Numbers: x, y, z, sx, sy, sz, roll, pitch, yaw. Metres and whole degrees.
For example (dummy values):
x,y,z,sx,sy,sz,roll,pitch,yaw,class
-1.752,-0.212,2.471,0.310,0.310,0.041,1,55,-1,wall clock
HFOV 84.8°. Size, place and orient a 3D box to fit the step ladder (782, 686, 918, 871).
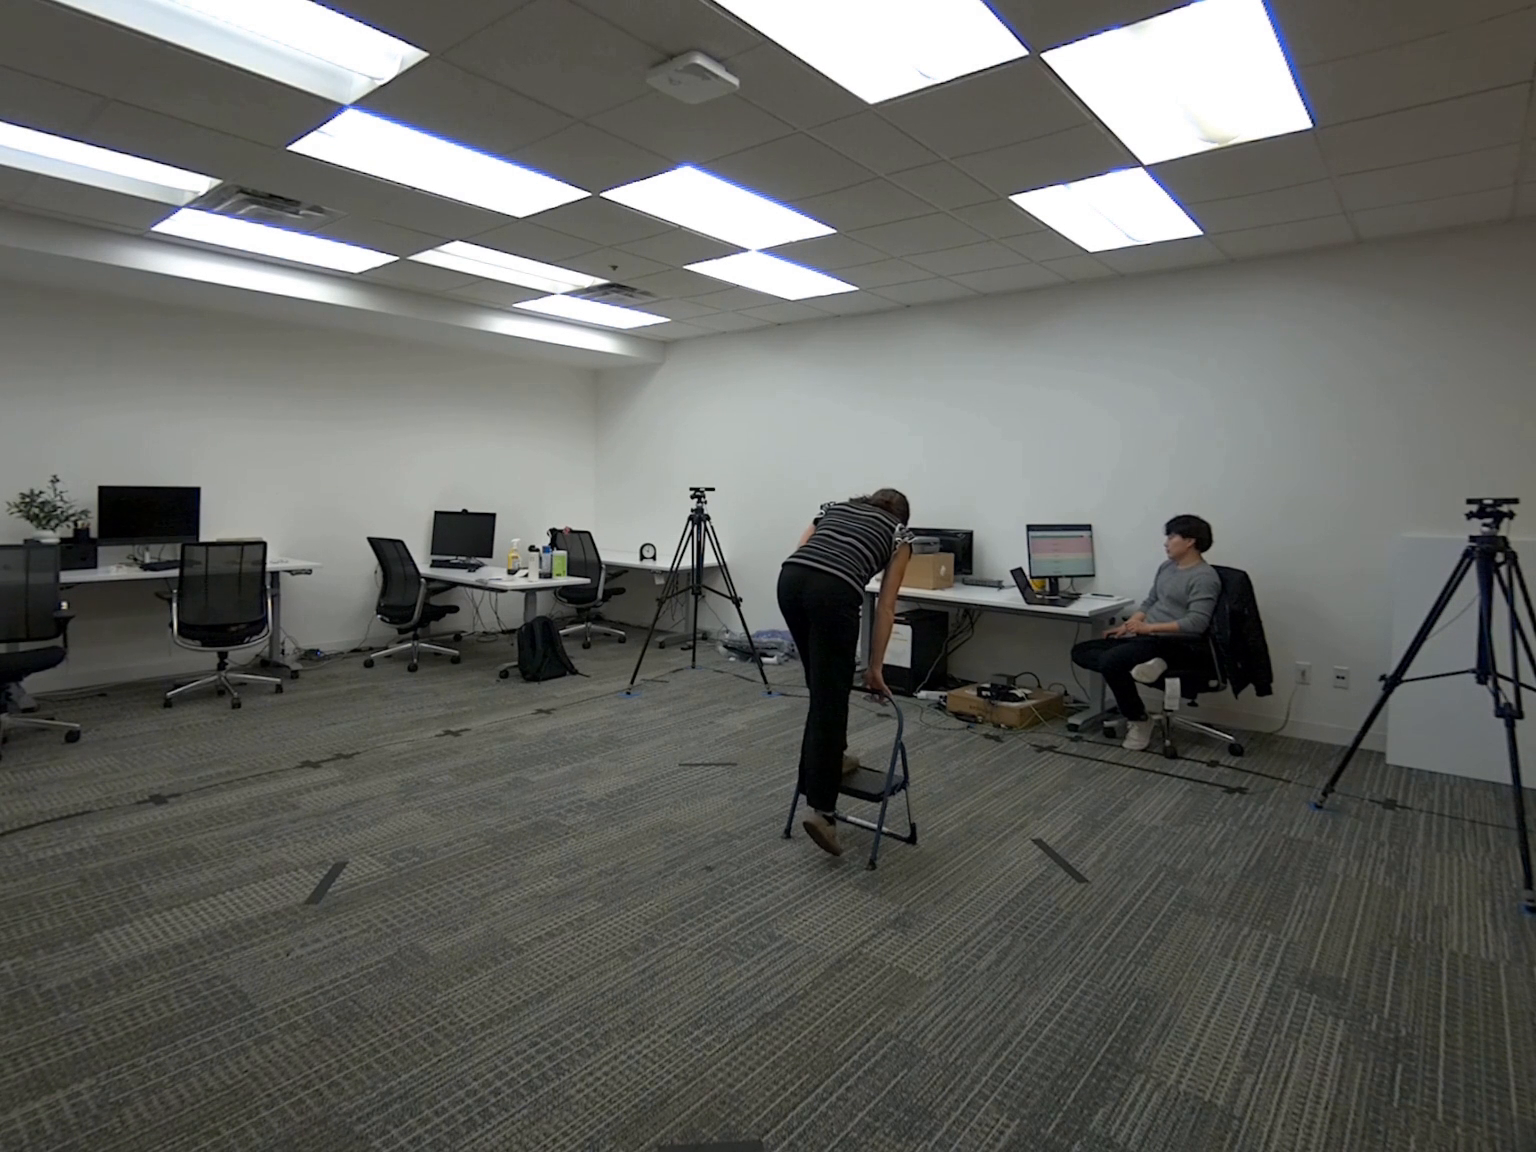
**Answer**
x,y,z,sx,sy,sz,roll,pitch,yaw,class
0.330,0.752,3.375,0.445,0.604,0.339,5,6,40,step ladder
